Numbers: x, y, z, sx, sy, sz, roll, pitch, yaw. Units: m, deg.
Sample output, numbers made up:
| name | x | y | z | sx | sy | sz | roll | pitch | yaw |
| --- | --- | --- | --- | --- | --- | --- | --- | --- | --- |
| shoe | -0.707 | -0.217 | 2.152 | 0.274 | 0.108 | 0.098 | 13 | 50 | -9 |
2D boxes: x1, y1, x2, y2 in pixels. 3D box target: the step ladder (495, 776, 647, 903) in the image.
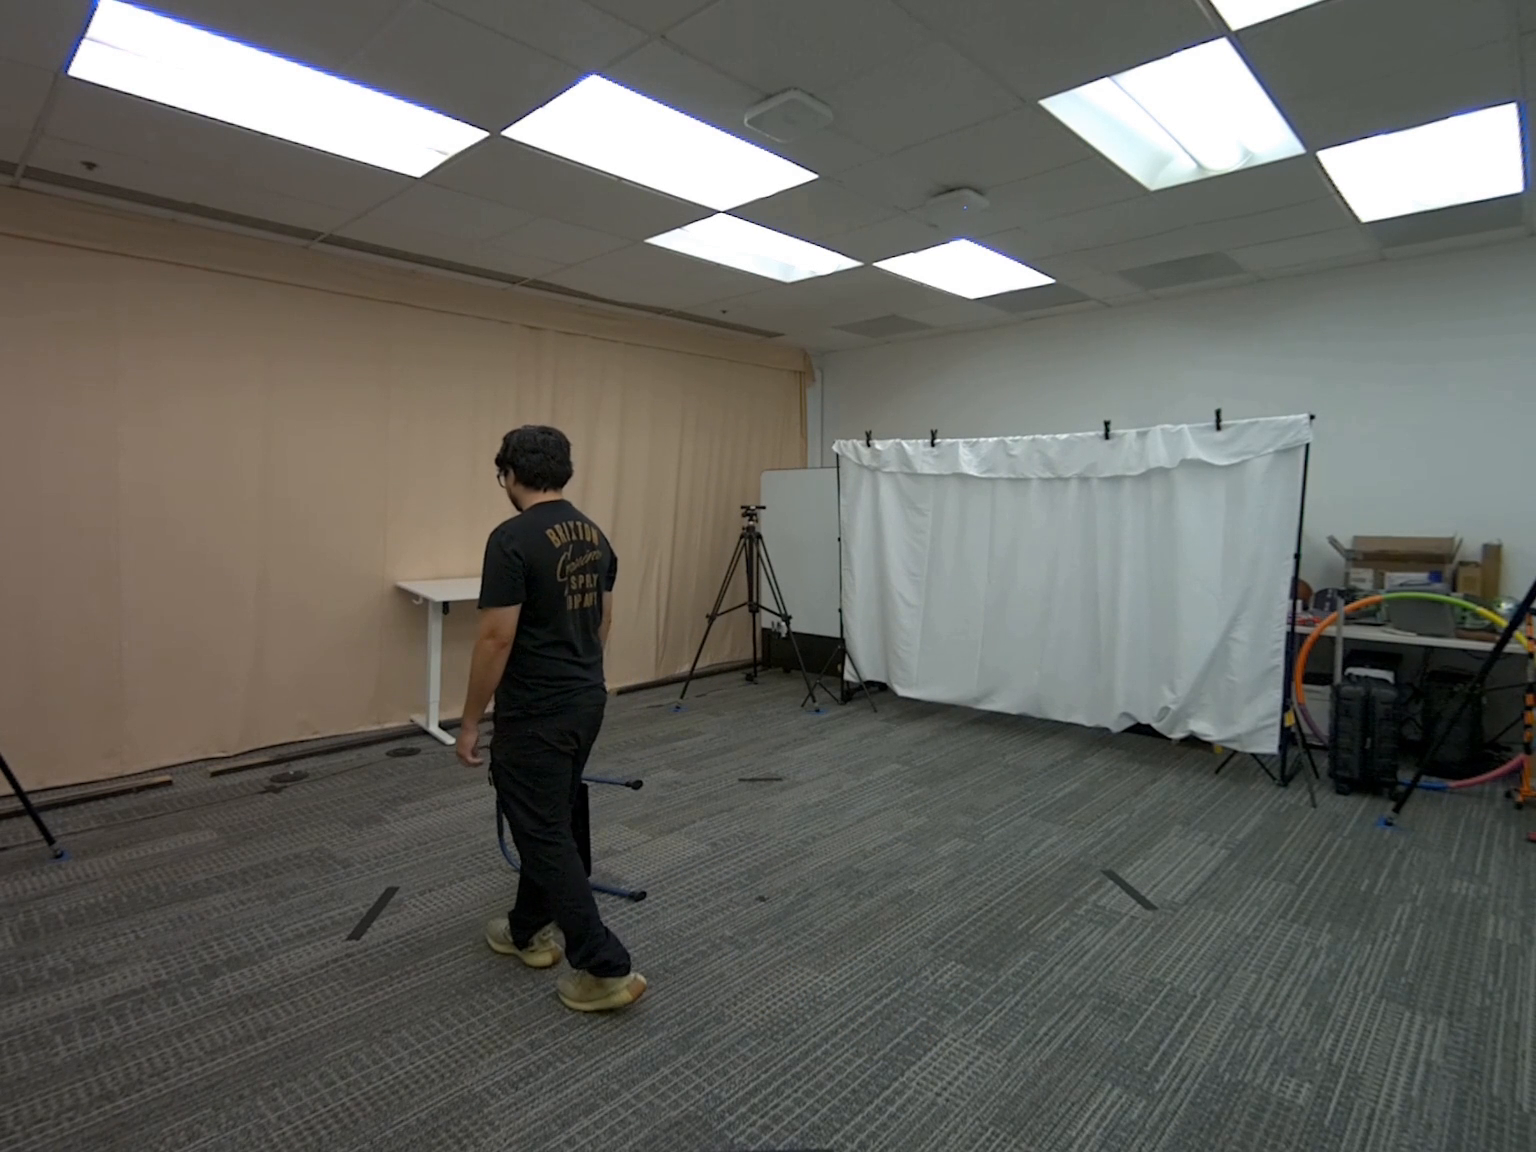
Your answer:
| name | x | y | z | sx | sy | sz | roll | pitch | yaw |
| --- | --- | --- | --- | --- | --- | --- | --- | --- | --- |
| step ladder | -0.774 | 0.934 | 3.085 | 0.338 | 0.430 | 0.626 | -3 | 3 | -44 |
